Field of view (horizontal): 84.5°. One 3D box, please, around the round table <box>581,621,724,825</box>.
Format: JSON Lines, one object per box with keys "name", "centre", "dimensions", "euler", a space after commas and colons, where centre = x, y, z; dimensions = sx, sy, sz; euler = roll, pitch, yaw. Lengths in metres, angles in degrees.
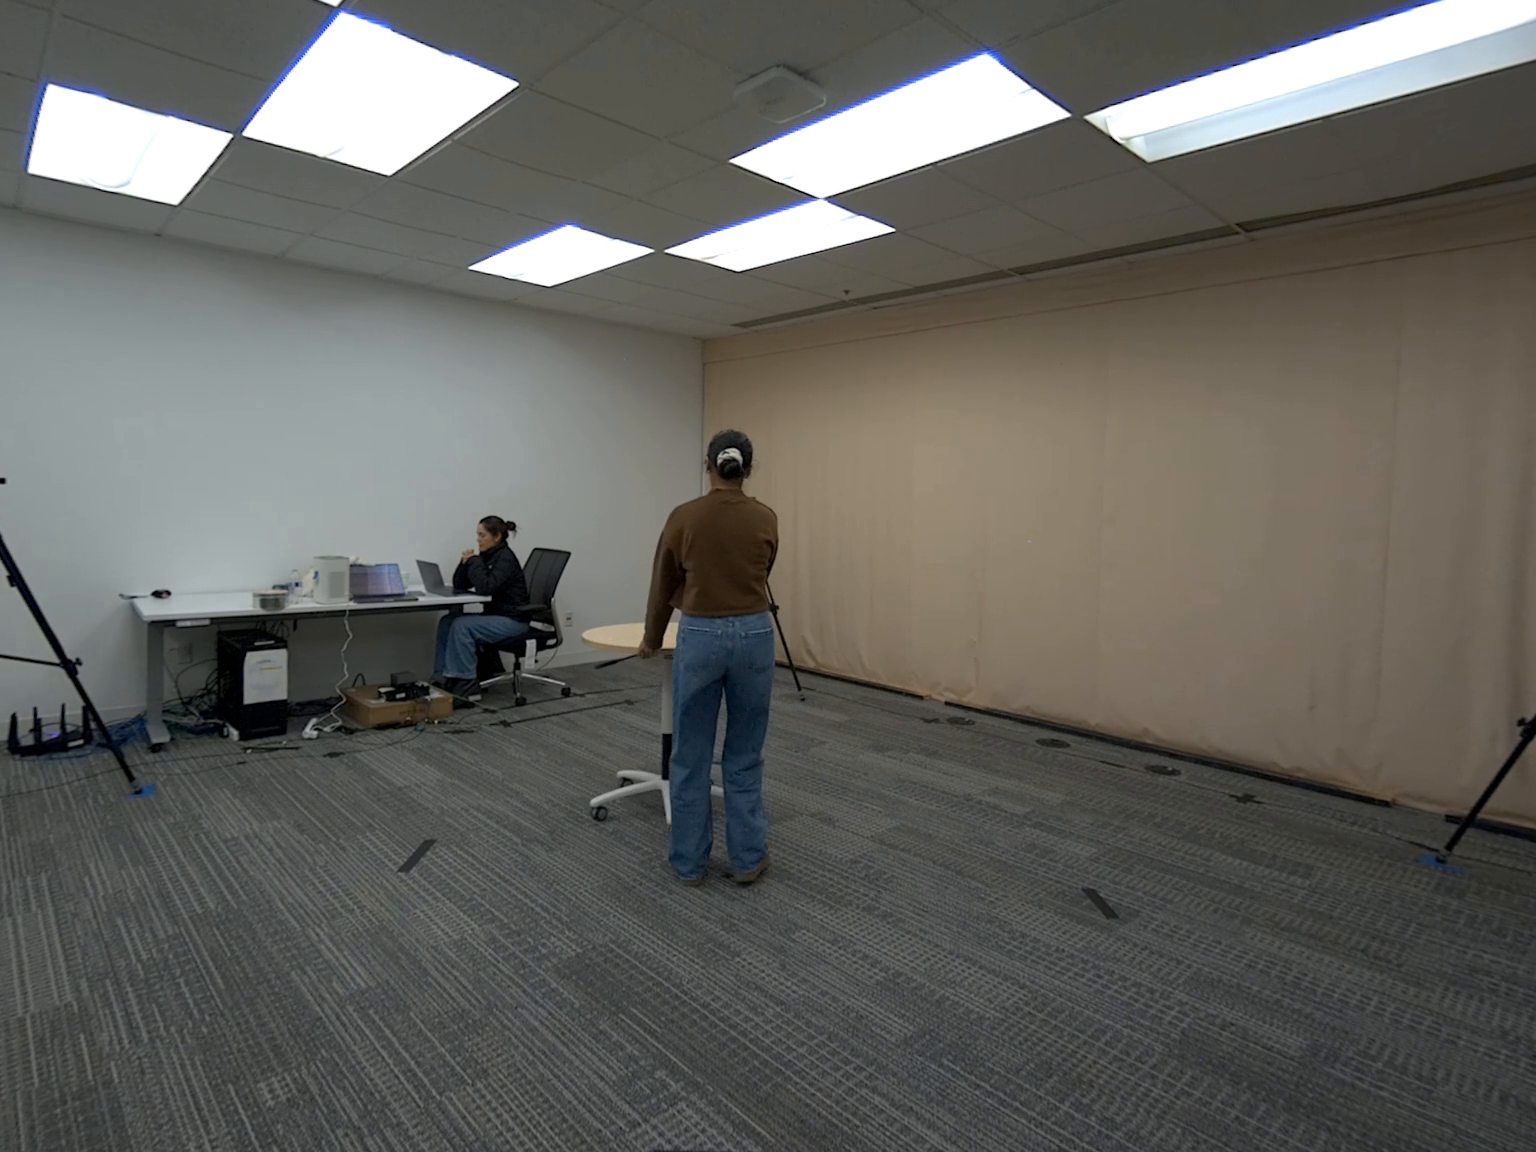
{"name": "round table", "centre": [-0.428, 0.650, 3.724], "dimensions": [0.784, 0.785, 0.787], "euler": [1, 3, -1]}
